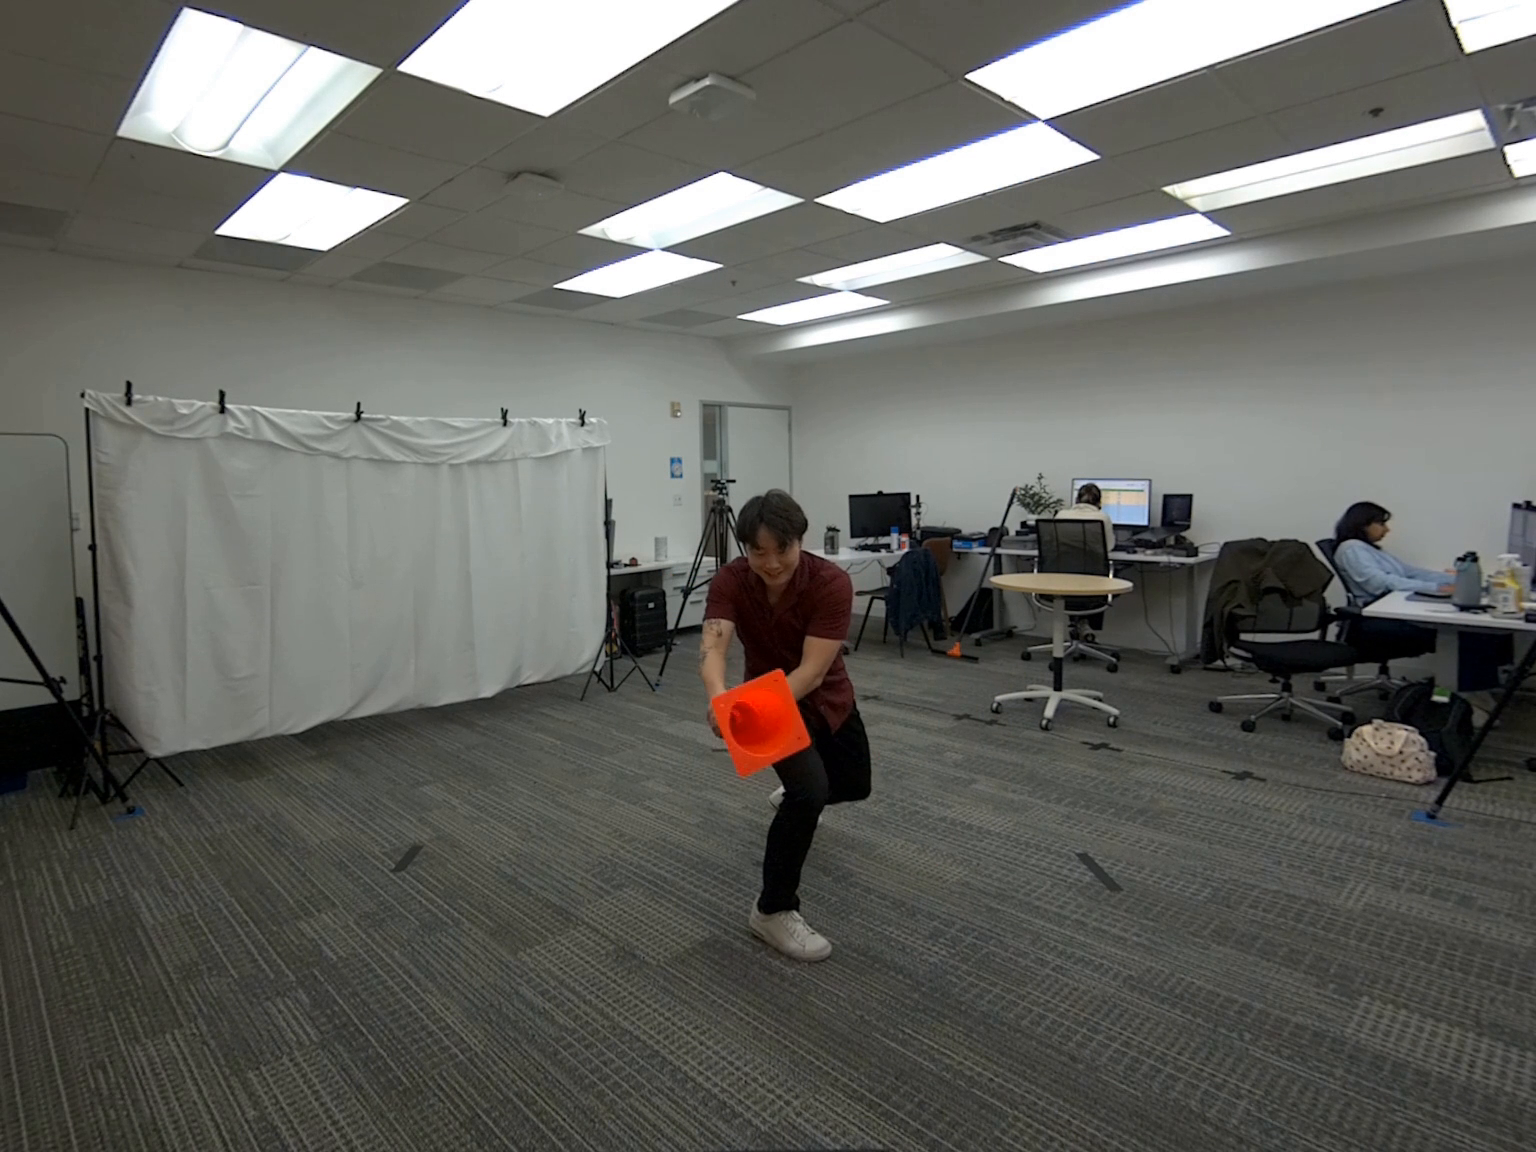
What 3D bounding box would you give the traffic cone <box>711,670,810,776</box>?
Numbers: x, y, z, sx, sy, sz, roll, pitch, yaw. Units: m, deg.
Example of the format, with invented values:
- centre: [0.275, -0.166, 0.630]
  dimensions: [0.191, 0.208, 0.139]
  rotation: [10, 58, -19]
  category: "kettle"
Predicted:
- centre: [-0.060, 0.380, 2.213]
  dimensions: [0.203, 0.205, 0.384]
  rotation: [-20, -5, -14]
  category: "traffic cone"
